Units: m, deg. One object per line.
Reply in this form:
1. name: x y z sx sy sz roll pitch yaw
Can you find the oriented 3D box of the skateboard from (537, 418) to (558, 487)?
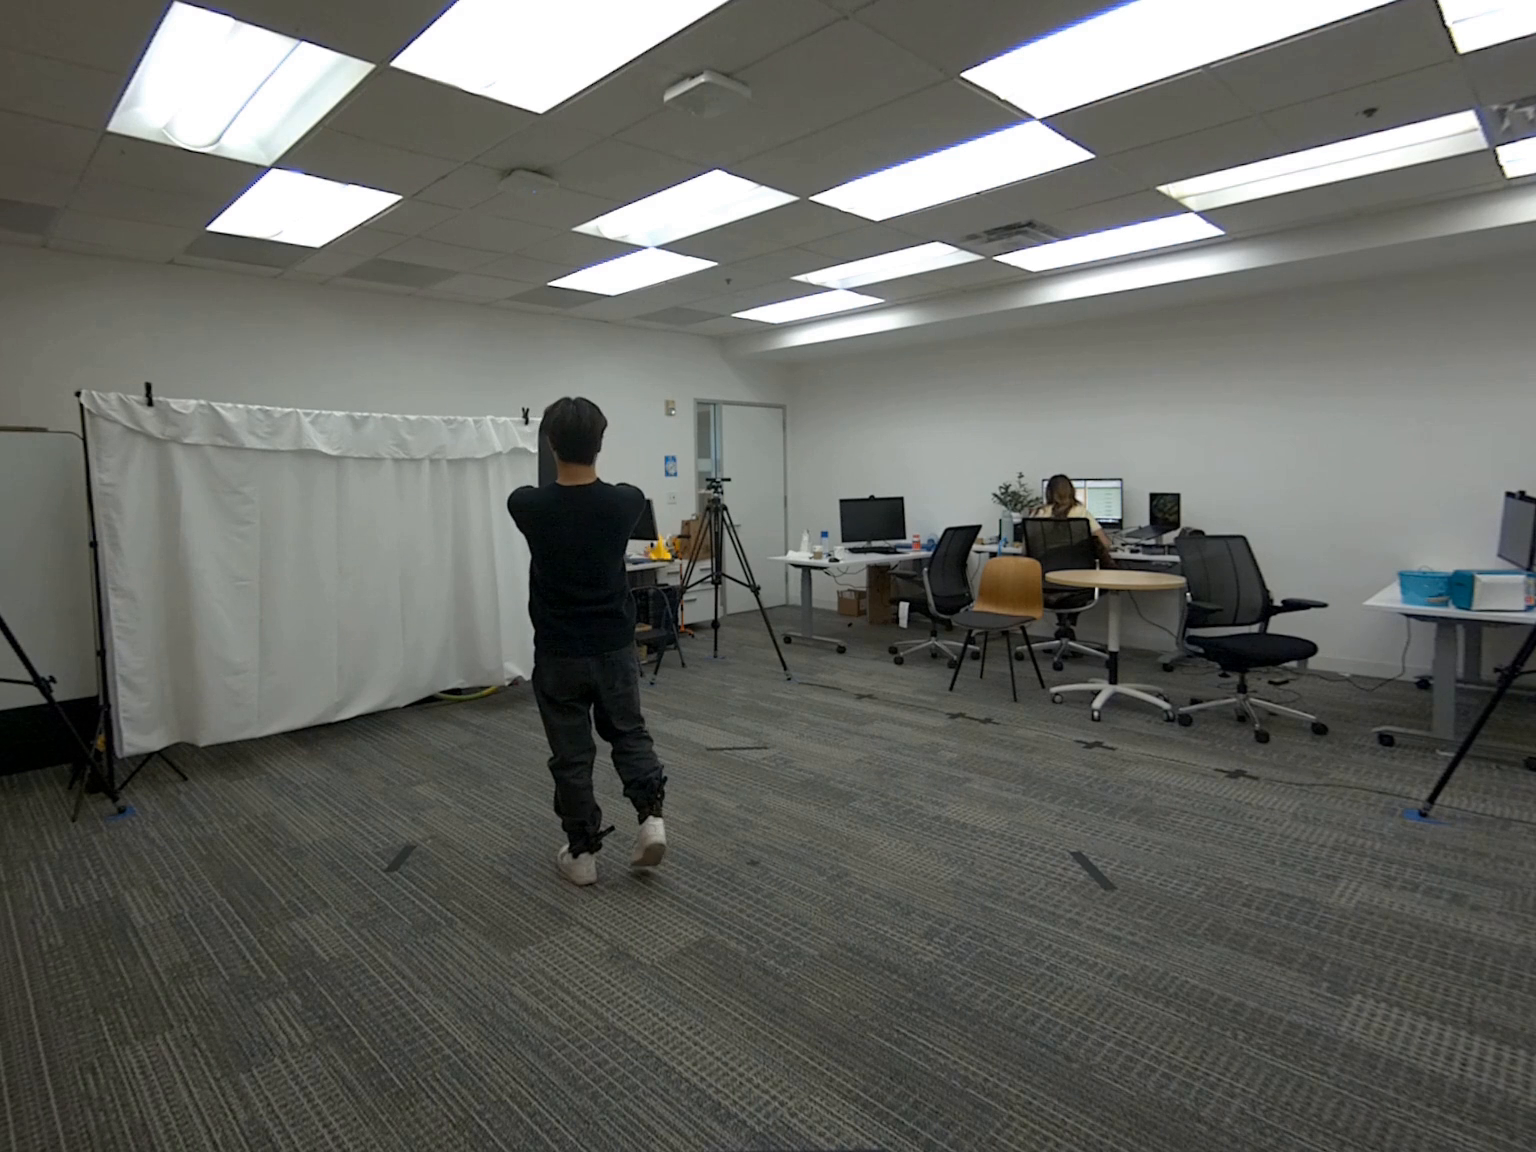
1. skateboard: -0.842 -0.296 3.531 0.191 0.787 0.111 0 -2 -14
